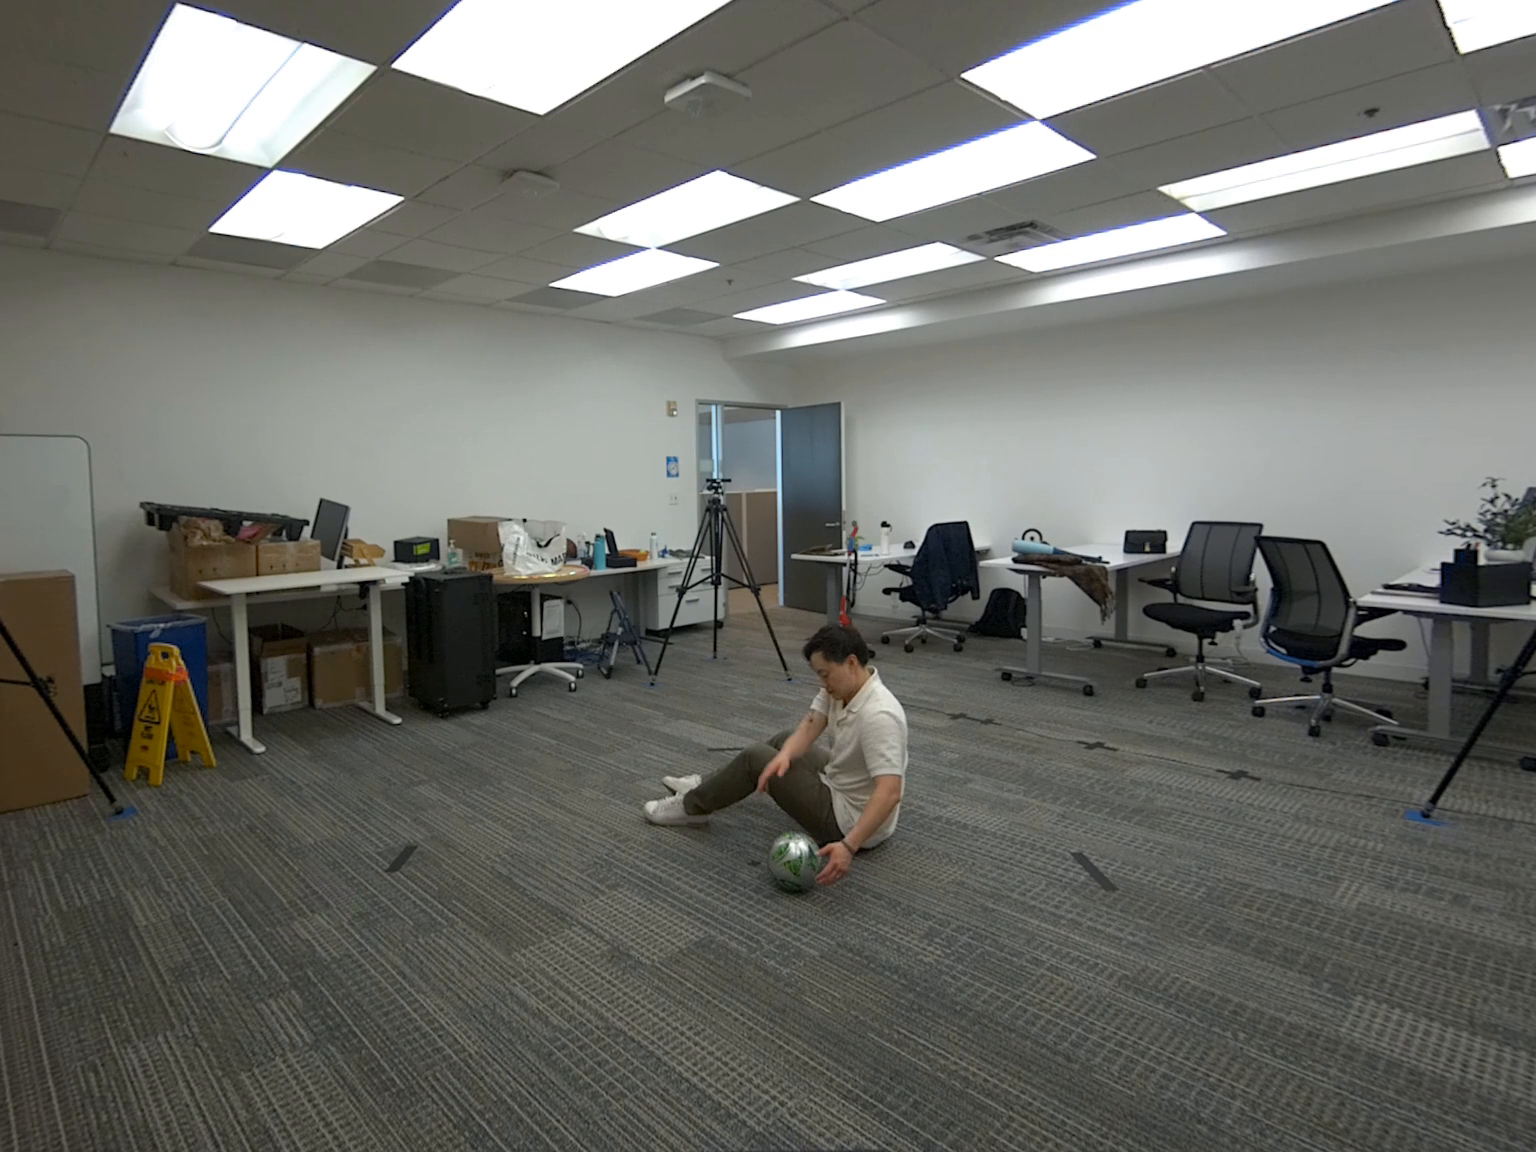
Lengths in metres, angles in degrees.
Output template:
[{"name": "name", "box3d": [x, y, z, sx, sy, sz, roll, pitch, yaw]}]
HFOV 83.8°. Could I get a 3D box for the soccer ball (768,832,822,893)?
[{"name": "soccer ball", "box3d": [0.090, 0.975, 2.913, 0.187, 0.187, 0.188, -1, 5, -2]}]
